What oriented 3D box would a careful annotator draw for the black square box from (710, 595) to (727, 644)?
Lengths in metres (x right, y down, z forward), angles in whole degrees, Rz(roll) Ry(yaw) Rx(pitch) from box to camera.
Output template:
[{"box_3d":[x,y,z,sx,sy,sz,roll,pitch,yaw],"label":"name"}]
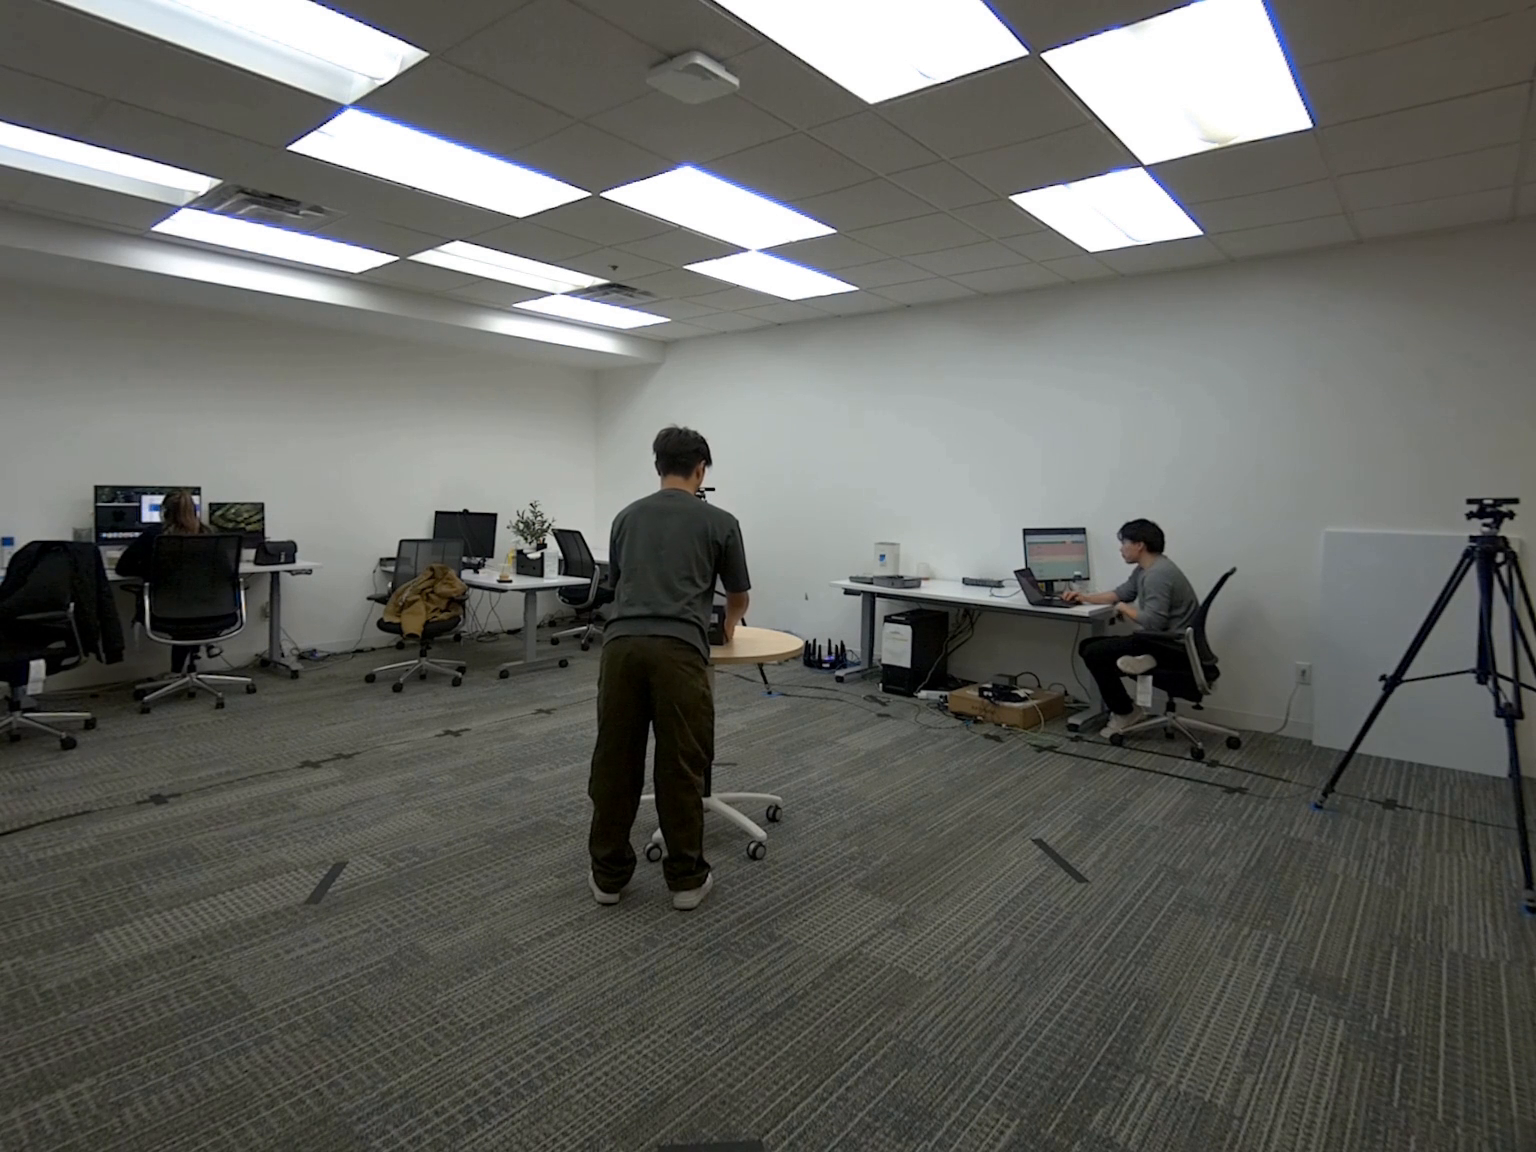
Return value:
[{"box_3d":[-0.267,0.170,3.404,0.219,0.155,0.226,1,5,9],"label":"black square box"}]
